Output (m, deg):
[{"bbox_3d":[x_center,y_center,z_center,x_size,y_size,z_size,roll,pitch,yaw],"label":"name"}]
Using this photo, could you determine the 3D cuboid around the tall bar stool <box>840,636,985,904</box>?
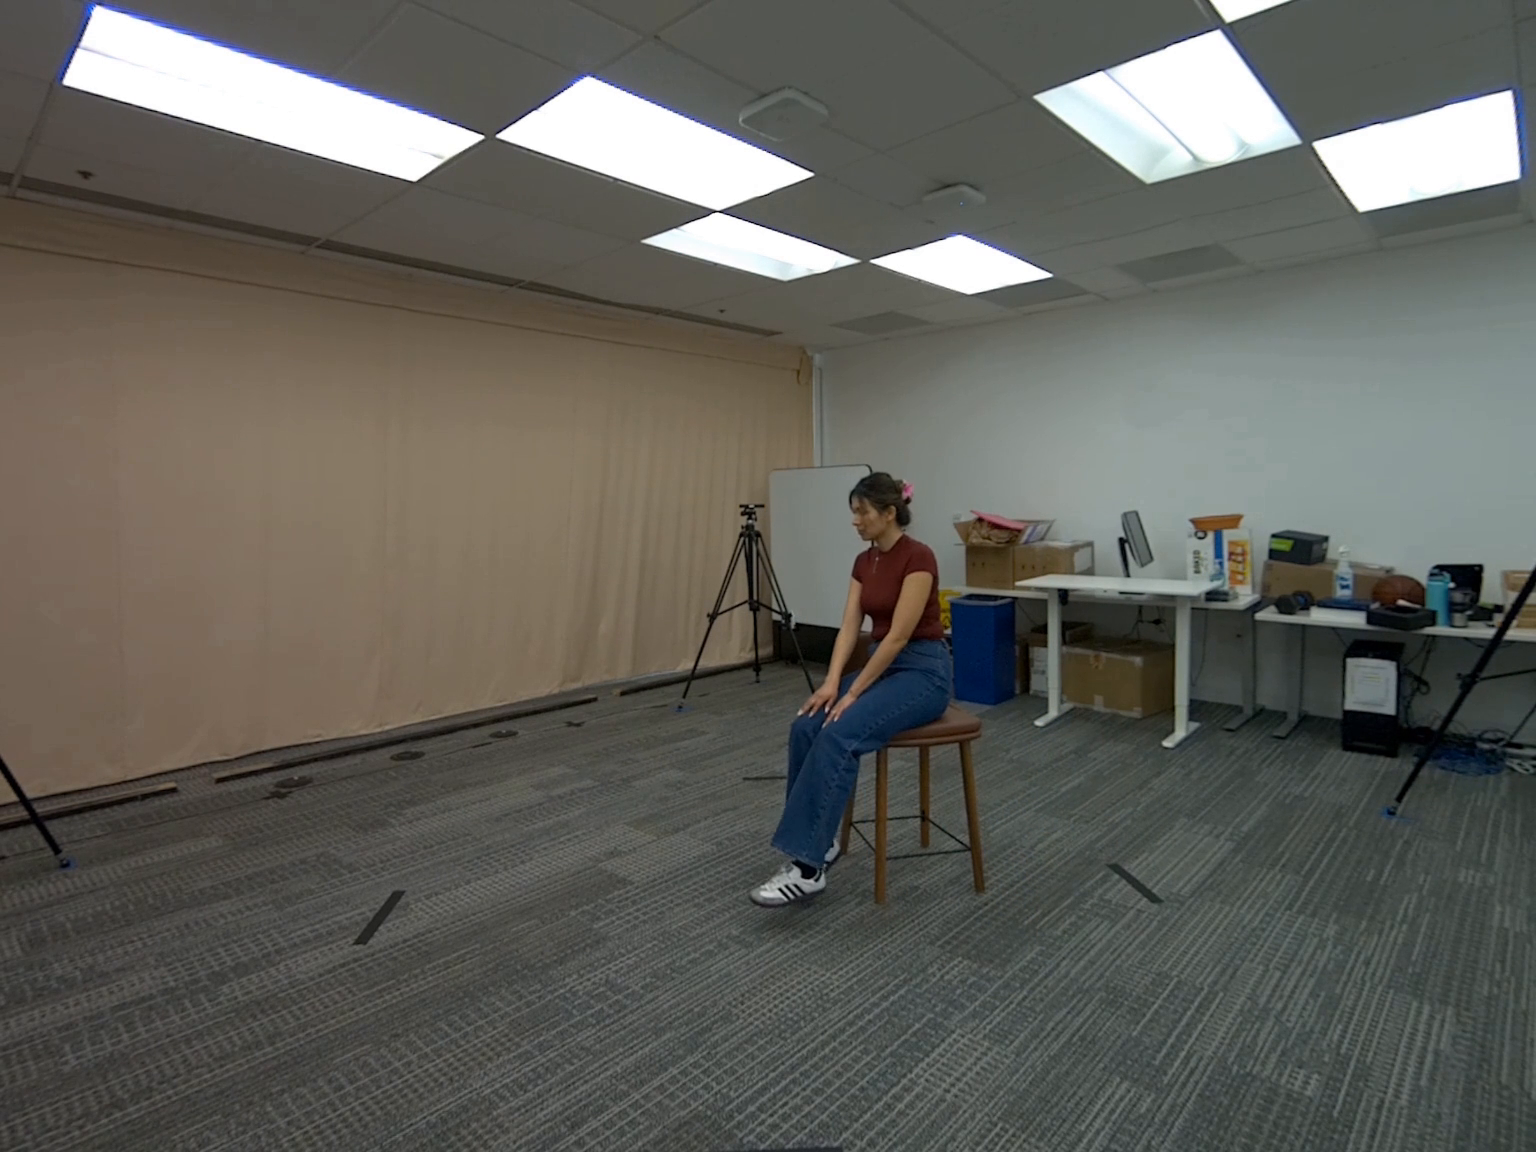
[{"bbox_3d":[0.524,0.684,3.162,0.450,0.889,0.475,-1,2,-14],"label":"tall bar stool"}]
